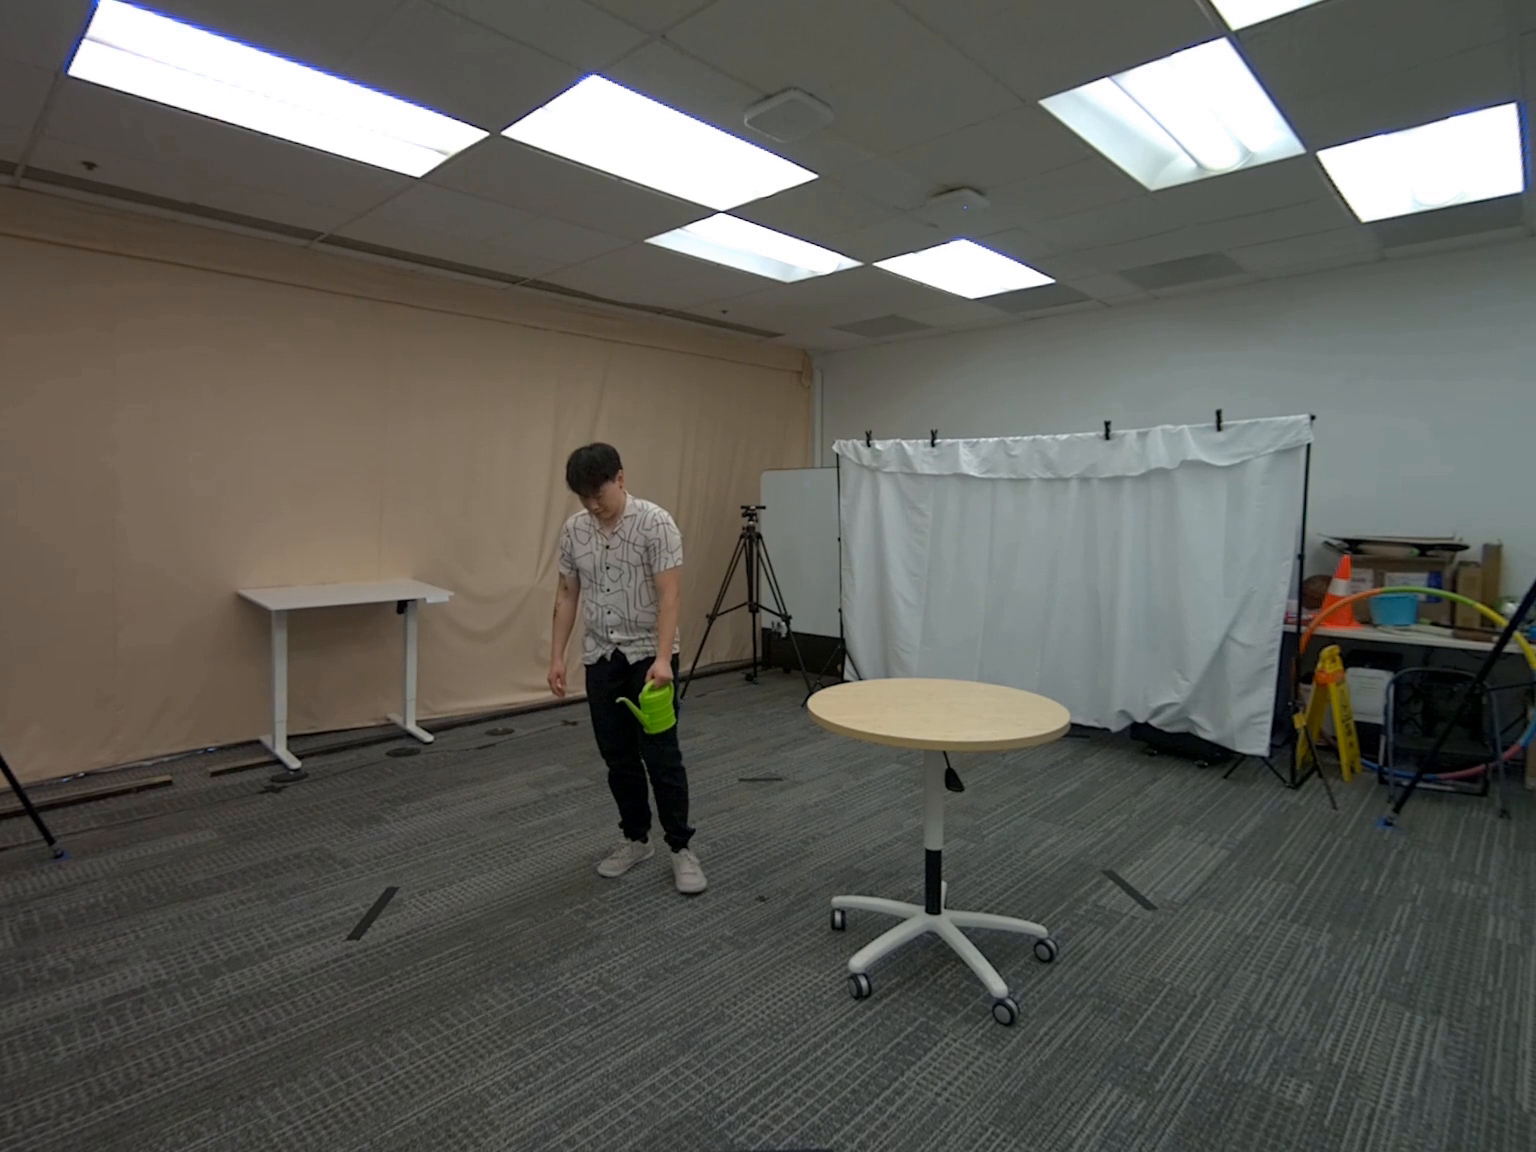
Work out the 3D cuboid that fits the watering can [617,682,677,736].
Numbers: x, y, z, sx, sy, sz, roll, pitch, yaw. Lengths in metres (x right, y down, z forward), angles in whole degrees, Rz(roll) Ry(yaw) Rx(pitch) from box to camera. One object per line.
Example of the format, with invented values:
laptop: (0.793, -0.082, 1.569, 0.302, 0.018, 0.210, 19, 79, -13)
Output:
watering can: (-0.413, 0.458, 2.920, 0.101, 0.175, 0.271, 2, 14, 45)
